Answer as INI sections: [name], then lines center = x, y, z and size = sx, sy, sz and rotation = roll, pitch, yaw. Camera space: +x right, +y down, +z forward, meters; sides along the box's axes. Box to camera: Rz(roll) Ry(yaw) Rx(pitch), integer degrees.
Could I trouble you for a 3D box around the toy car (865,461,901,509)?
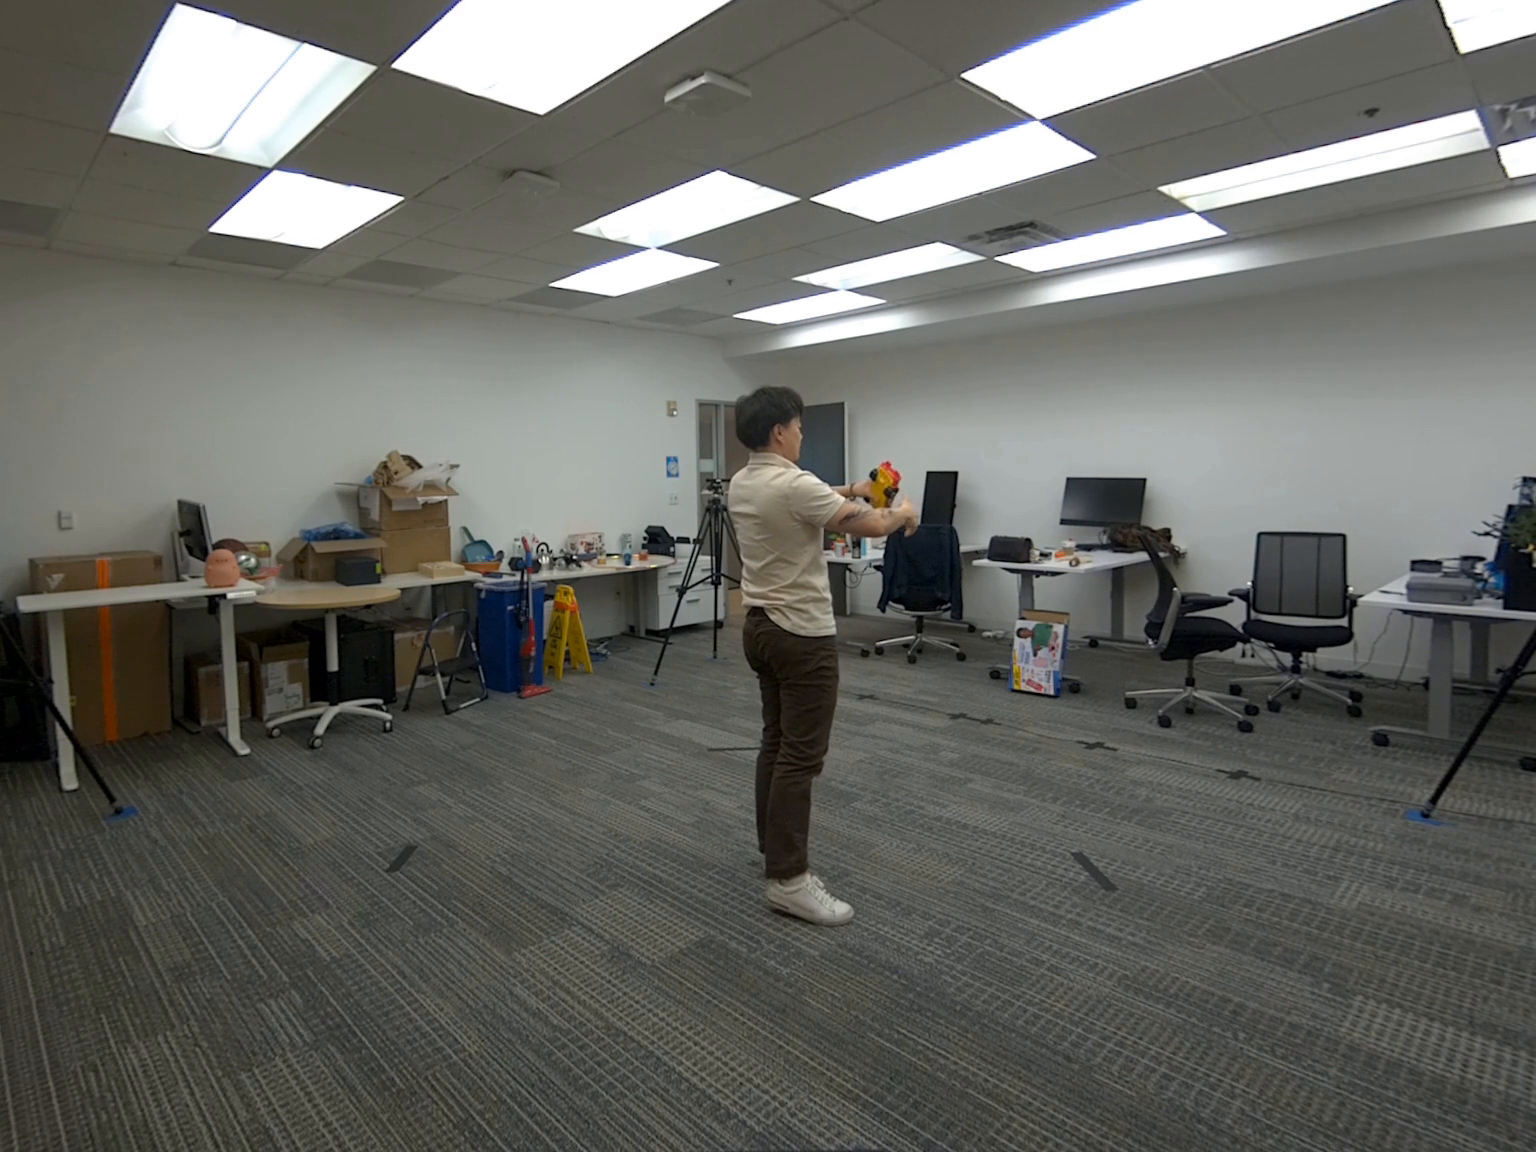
[toy car]
center = 0.416, -0.307, 3.090
size = 0.082, 0.134, 0.250
rotation = -19, -29, -28
